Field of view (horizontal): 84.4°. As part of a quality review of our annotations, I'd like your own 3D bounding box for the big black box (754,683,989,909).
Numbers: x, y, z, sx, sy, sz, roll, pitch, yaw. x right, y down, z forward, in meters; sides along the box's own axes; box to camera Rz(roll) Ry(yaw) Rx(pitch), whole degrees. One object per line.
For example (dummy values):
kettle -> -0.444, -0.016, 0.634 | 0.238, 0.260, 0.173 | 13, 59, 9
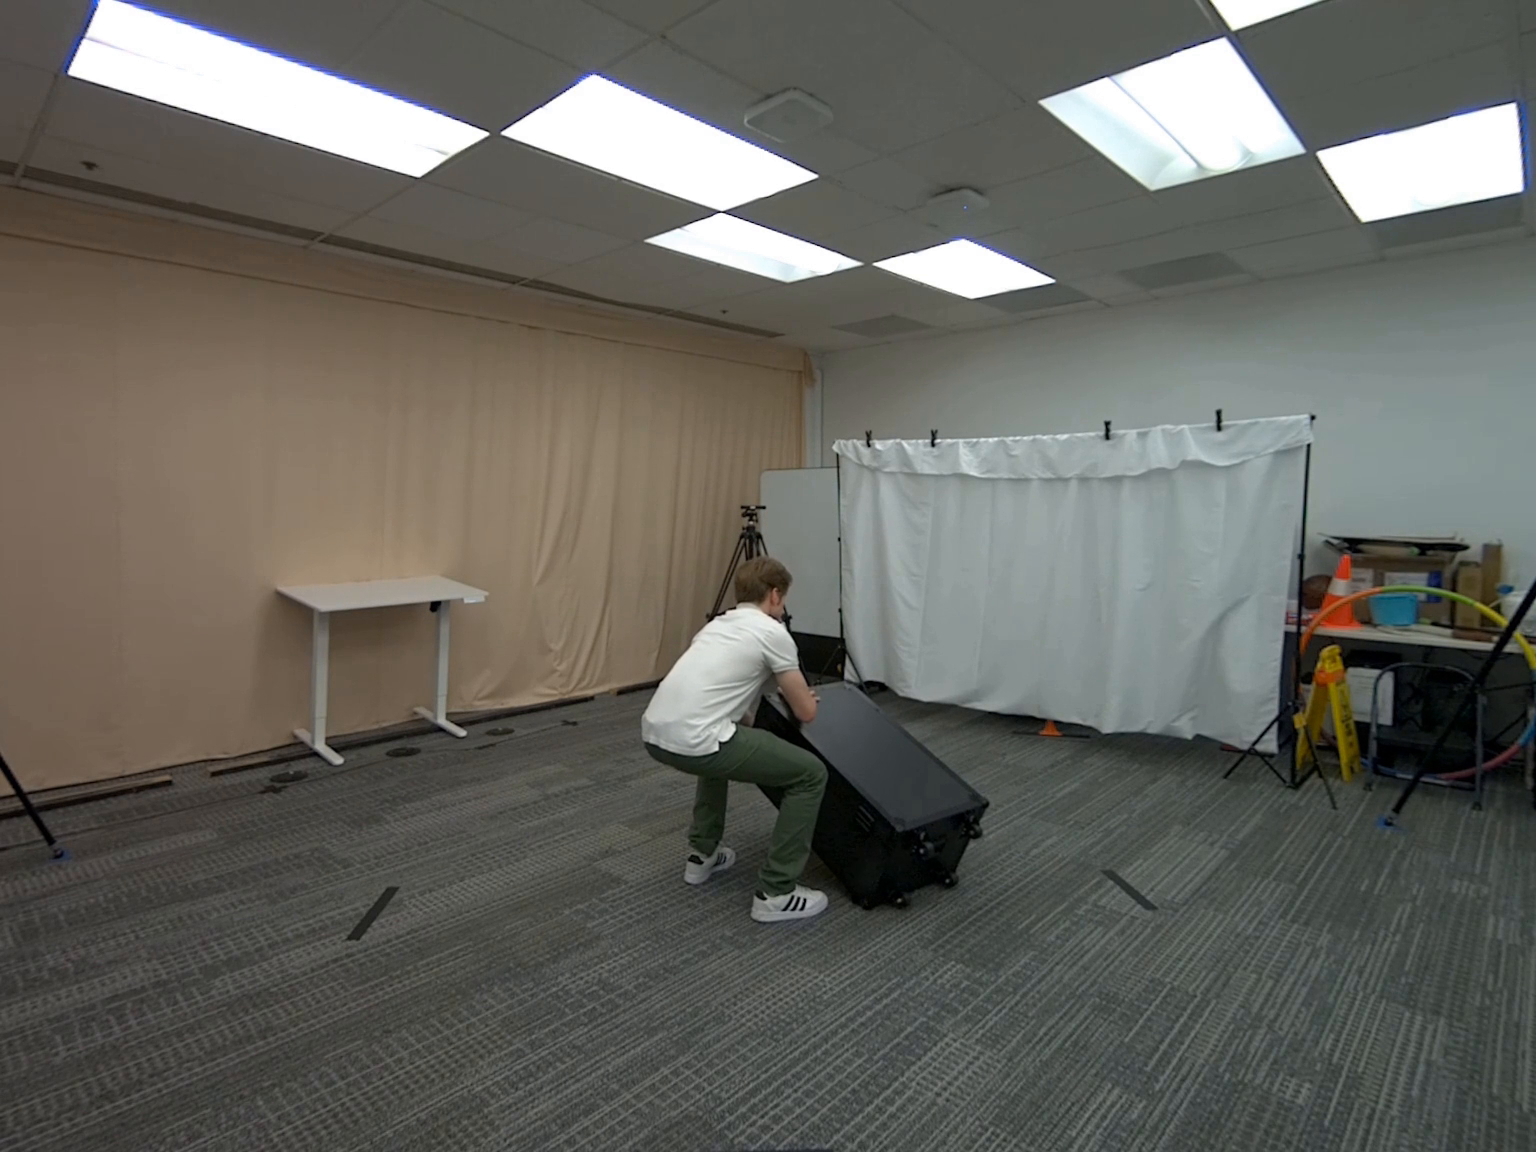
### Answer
big black box -> 0.363, 0.817, 3.215 | 0.507, 0.383, 0.900 | -1, 28, -37
